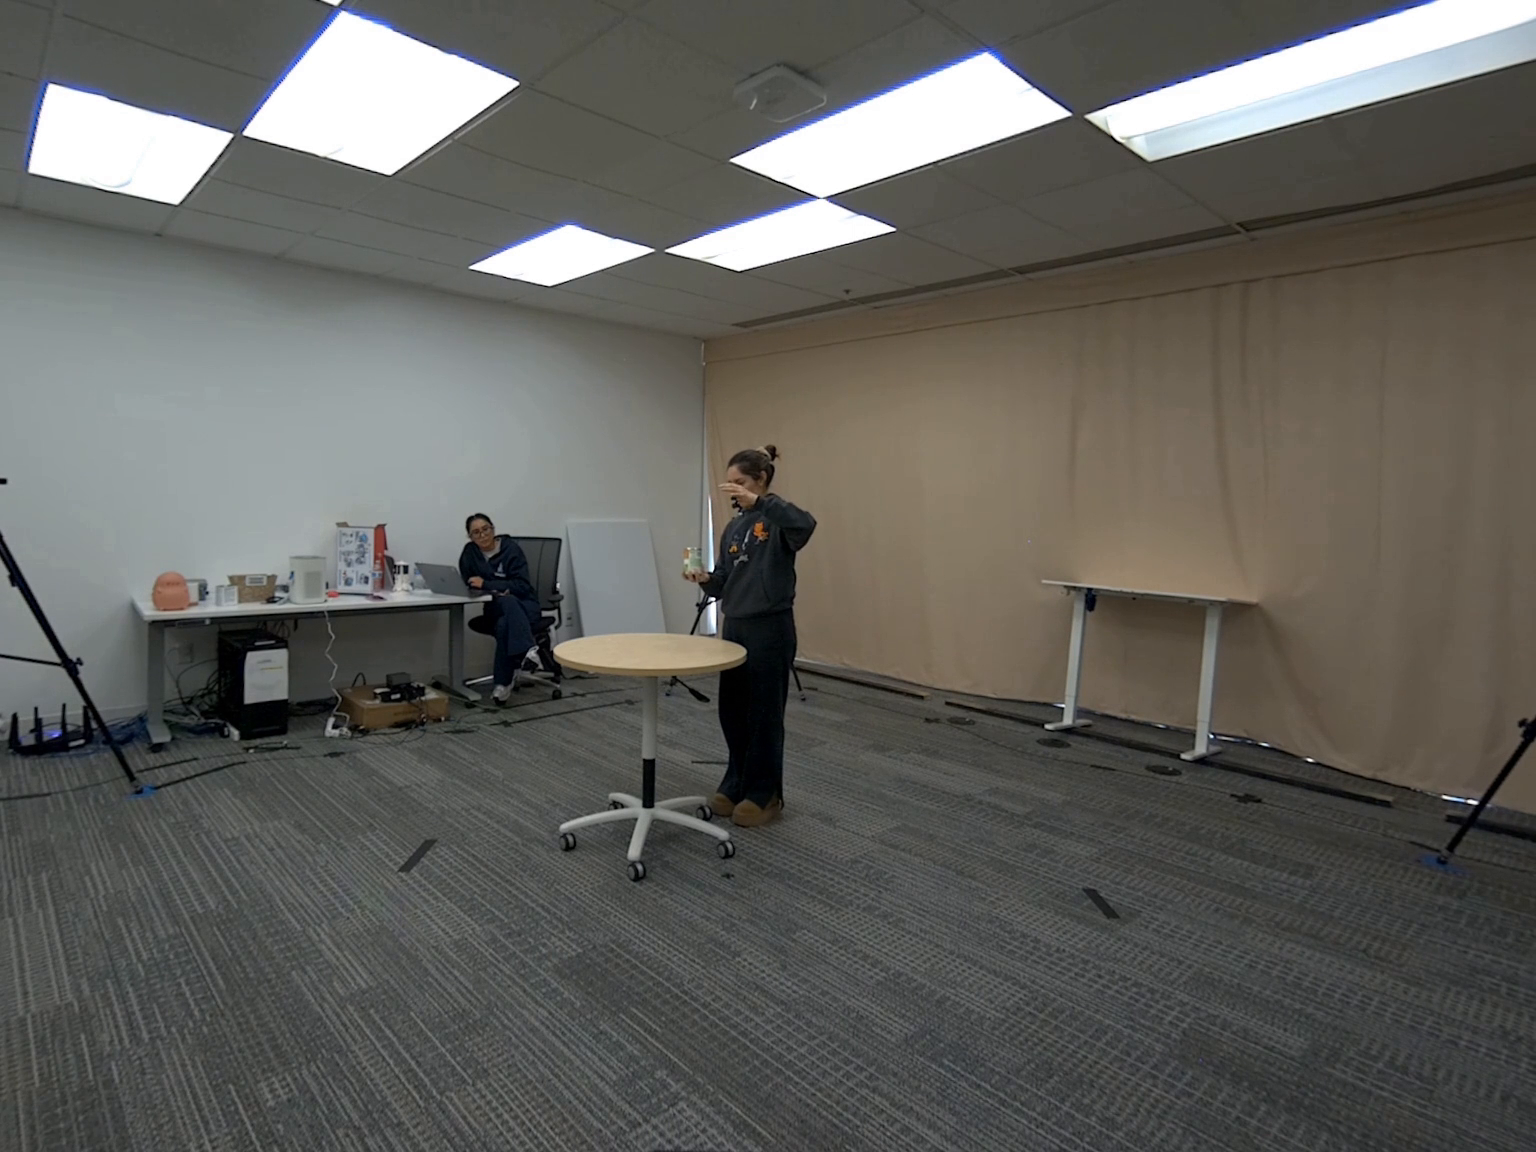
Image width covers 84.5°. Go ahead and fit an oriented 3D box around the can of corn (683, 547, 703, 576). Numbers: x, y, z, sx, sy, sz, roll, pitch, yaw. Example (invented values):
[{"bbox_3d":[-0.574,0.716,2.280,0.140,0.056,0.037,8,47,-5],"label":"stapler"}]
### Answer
[{"bbox_3d":[-0.328,-0.062,3.583,0.074,0.111,0.074,-1,-4,-1],"label":"can of corn"}]
